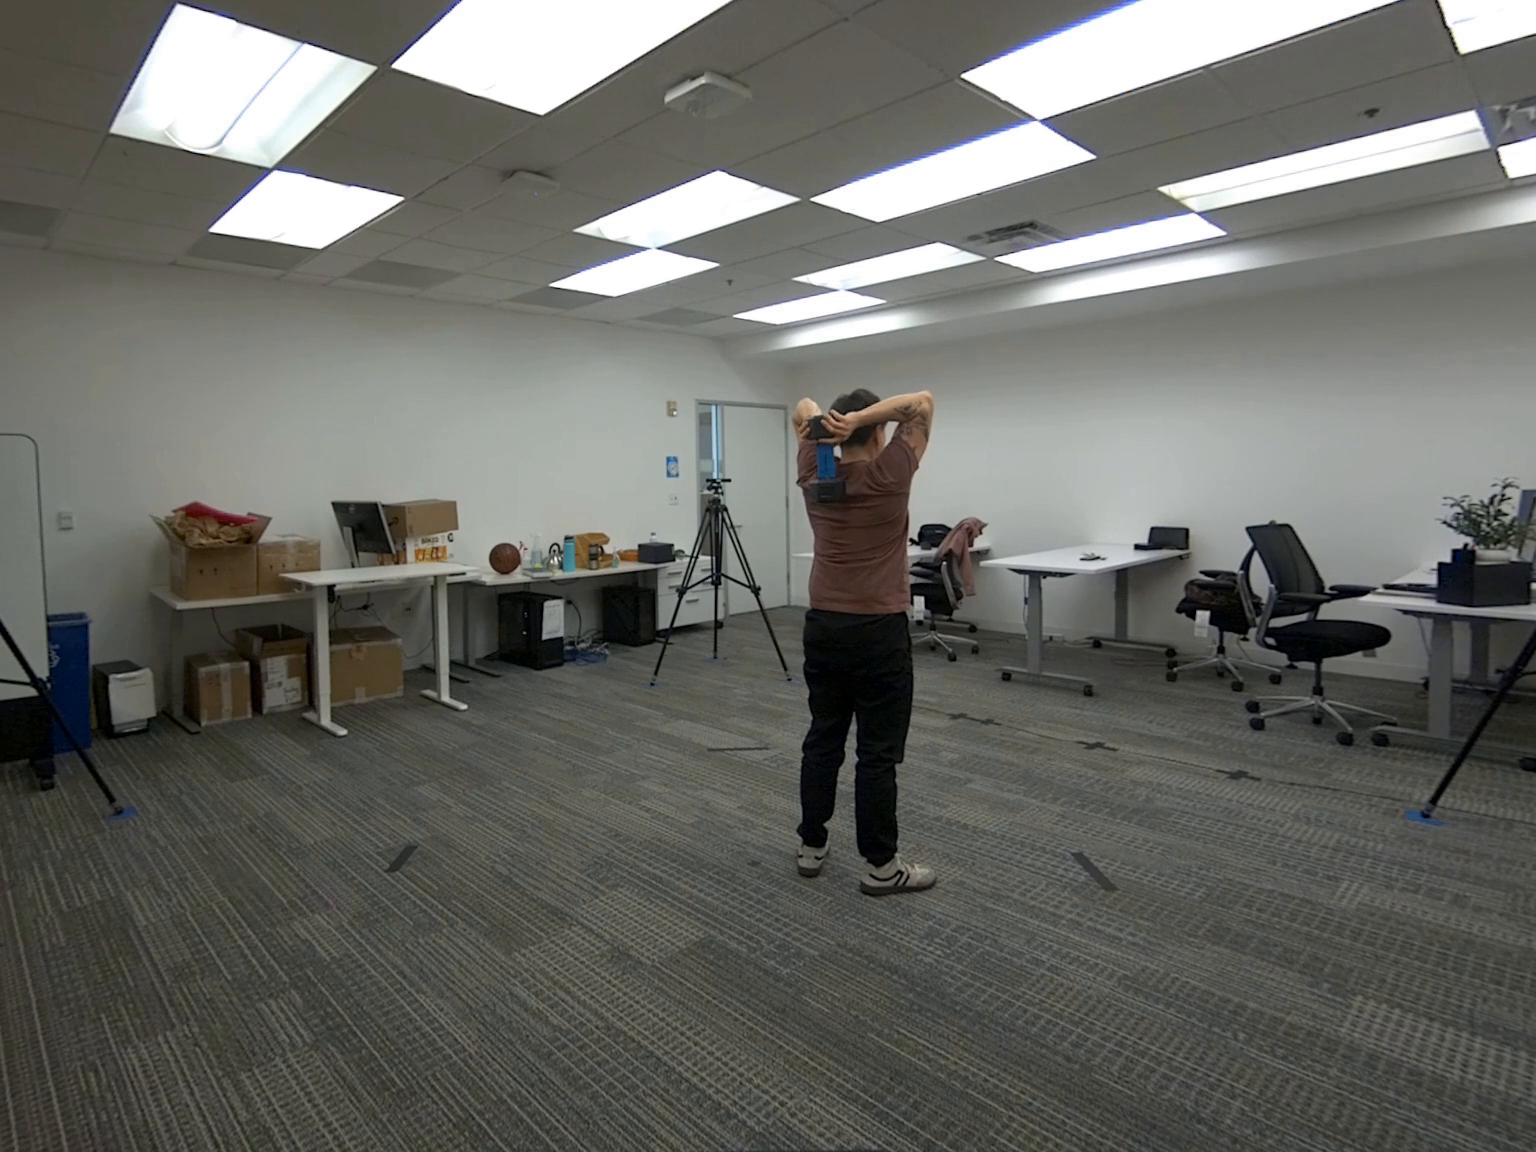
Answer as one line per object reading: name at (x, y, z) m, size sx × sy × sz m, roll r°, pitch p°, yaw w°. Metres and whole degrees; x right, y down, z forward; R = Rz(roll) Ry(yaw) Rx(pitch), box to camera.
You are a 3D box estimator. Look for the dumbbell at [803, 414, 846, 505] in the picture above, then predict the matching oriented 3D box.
dumbbell at (0.203, -0.405, 2.849) m, size 0.112 × 0.292 × 0.120 m, roll 5°, pitch 9°, yaw 41°
